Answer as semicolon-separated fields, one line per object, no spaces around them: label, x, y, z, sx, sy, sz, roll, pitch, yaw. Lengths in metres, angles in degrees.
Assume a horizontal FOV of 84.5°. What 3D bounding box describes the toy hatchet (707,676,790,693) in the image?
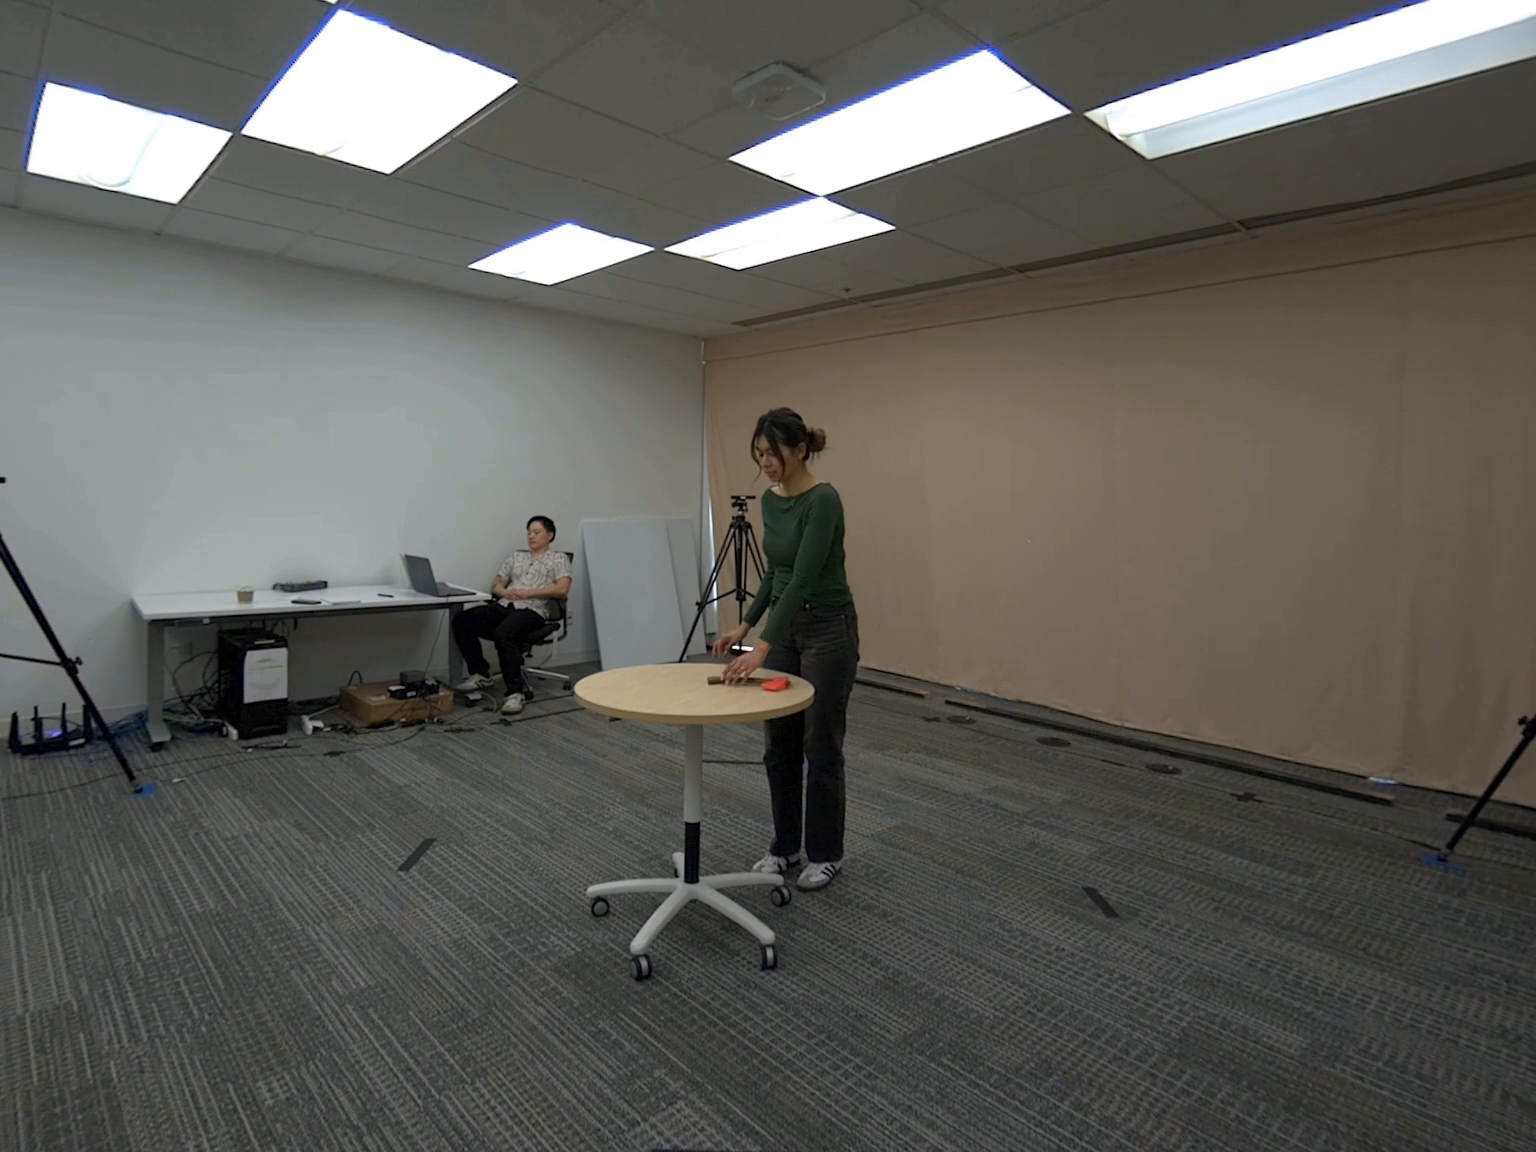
toy hatchet;-0.073;0.347;2.691;0.270;0.029;0.132;-3;12;0
